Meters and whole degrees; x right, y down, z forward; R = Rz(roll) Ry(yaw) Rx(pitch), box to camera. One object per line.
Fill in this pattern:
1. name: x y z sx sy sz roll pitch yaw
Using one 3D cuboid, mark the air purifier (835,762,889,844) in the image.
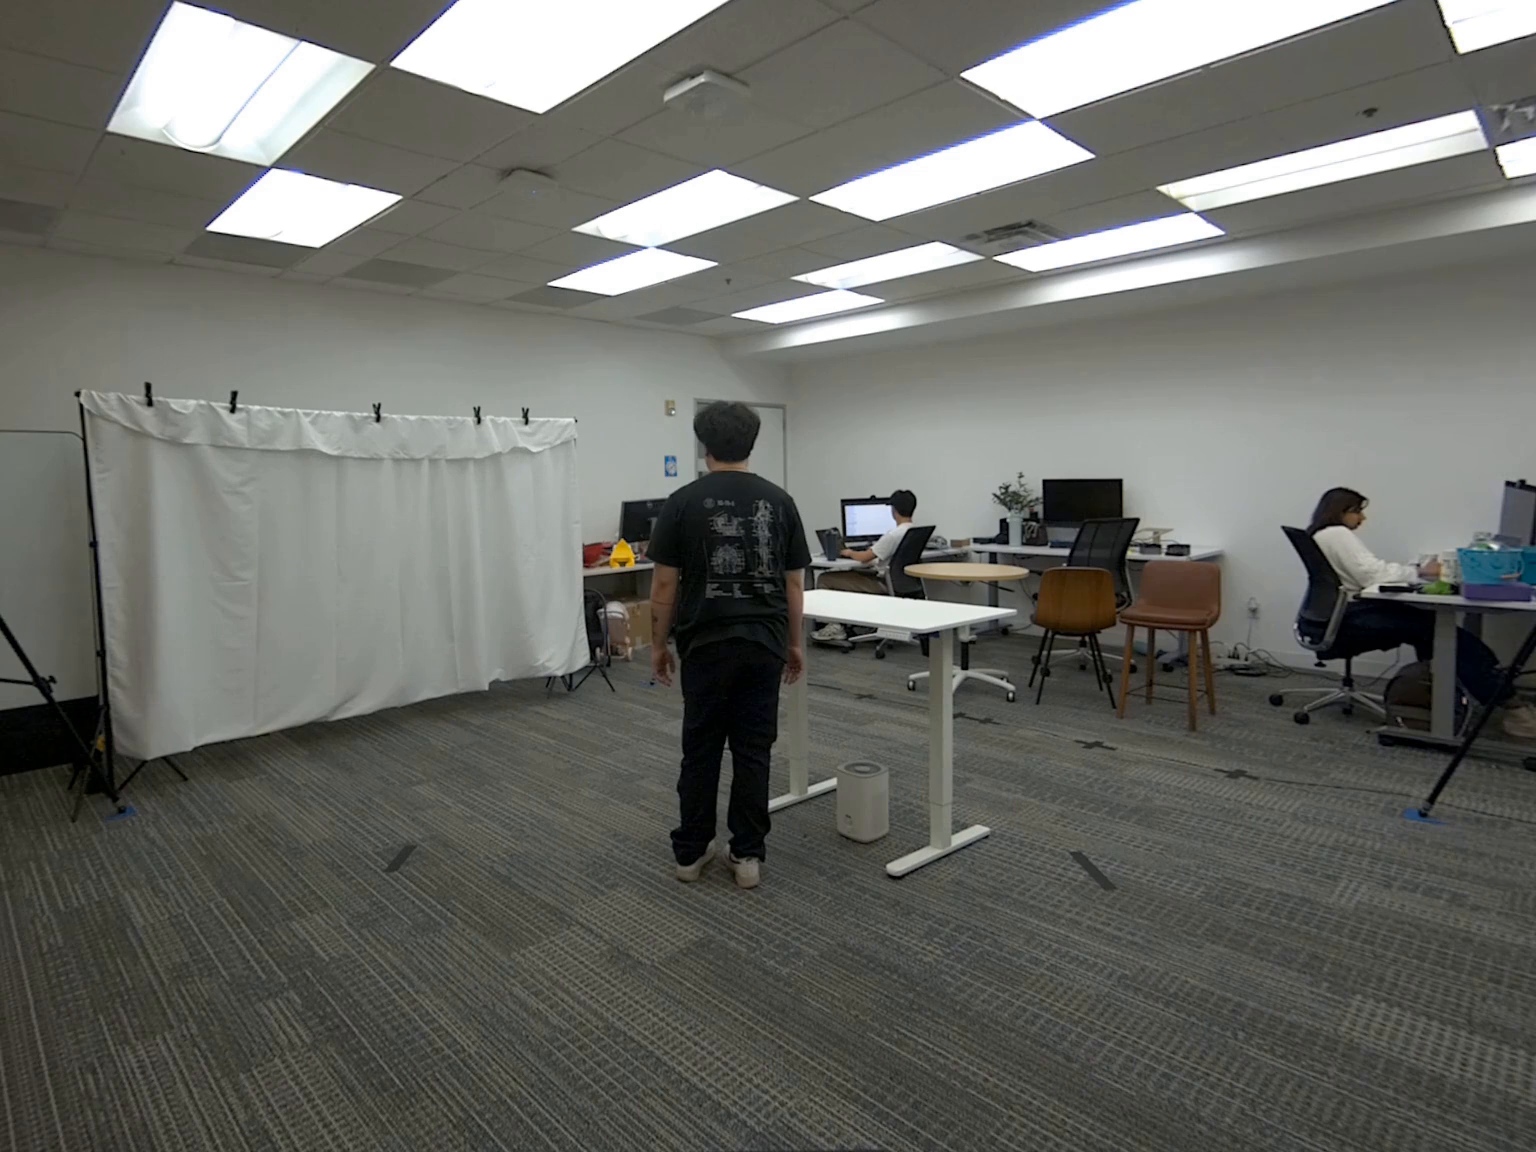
1. air purifier: 0.370 0.876 3.327 0.167 0.264 0.176 -4 5 -43
